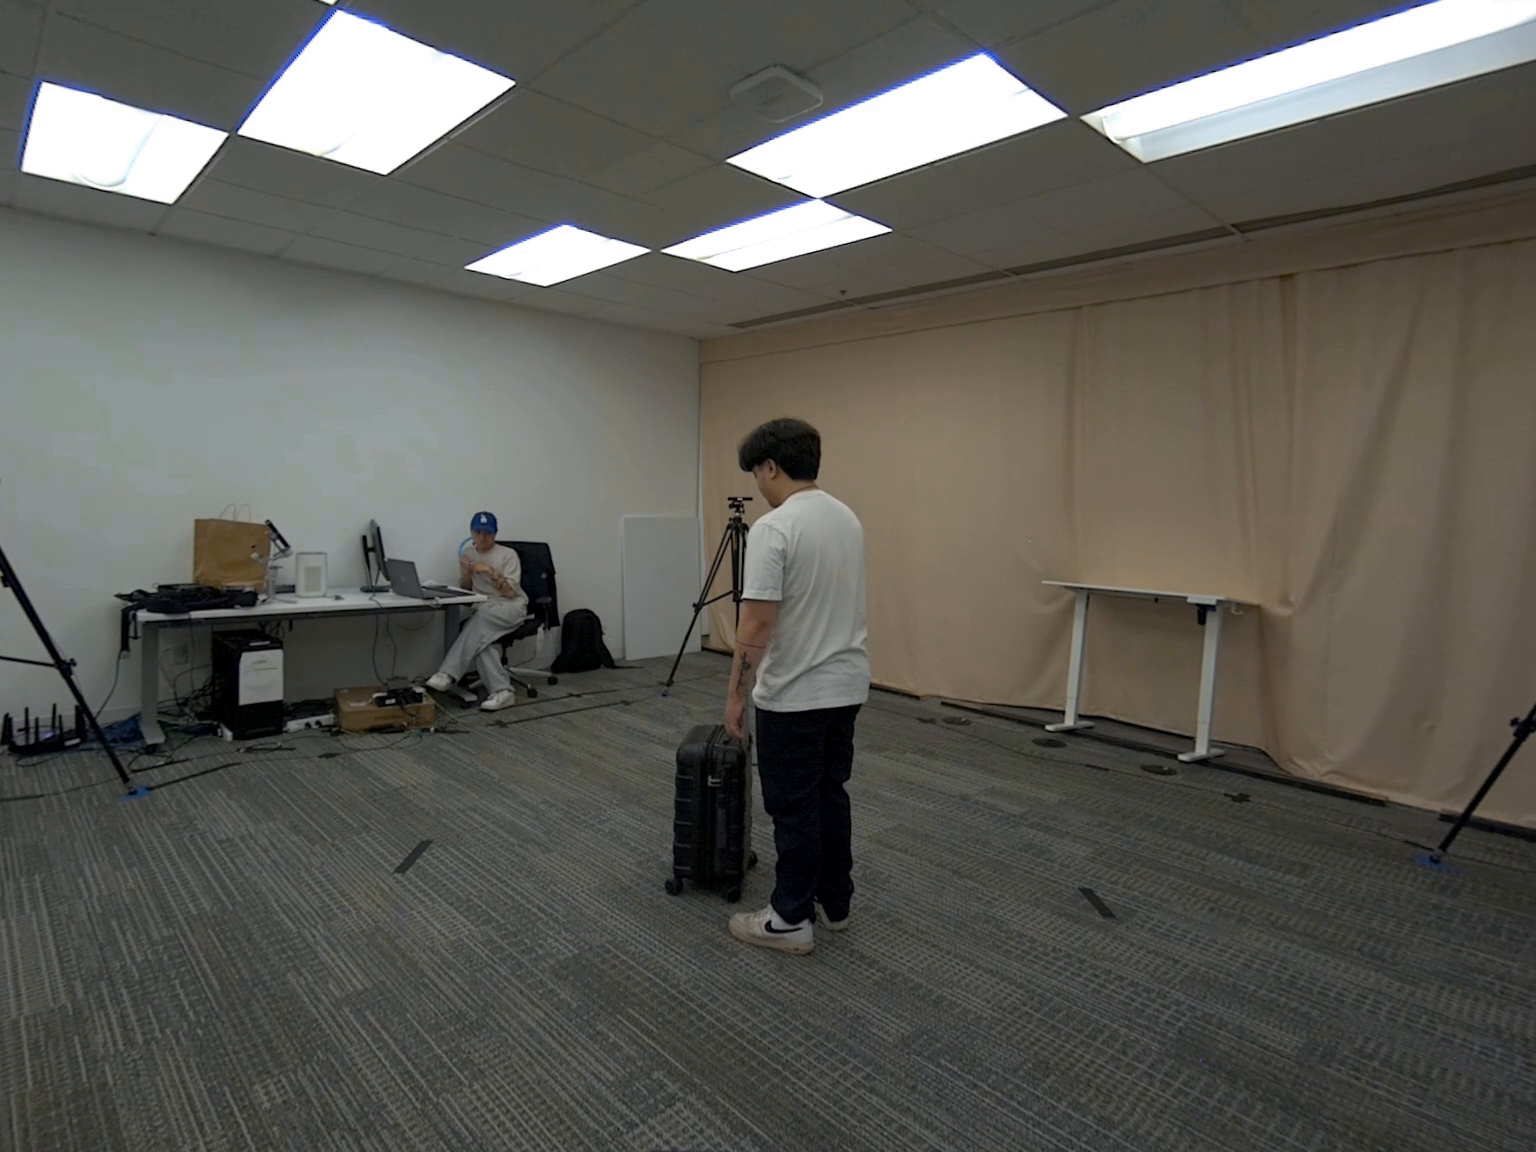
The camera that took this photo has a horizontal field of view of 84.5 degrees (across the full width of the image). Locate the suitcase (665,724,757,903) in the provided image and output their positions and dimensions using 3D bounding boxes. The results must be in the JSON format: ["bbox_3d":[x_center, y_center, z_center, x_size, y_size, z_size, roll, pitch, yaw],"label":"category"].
[{"bbox_3d":[-0.205,0.640,3.059,0.258,0.977,0.382,0,2,6],"label":"suitcase"}]
